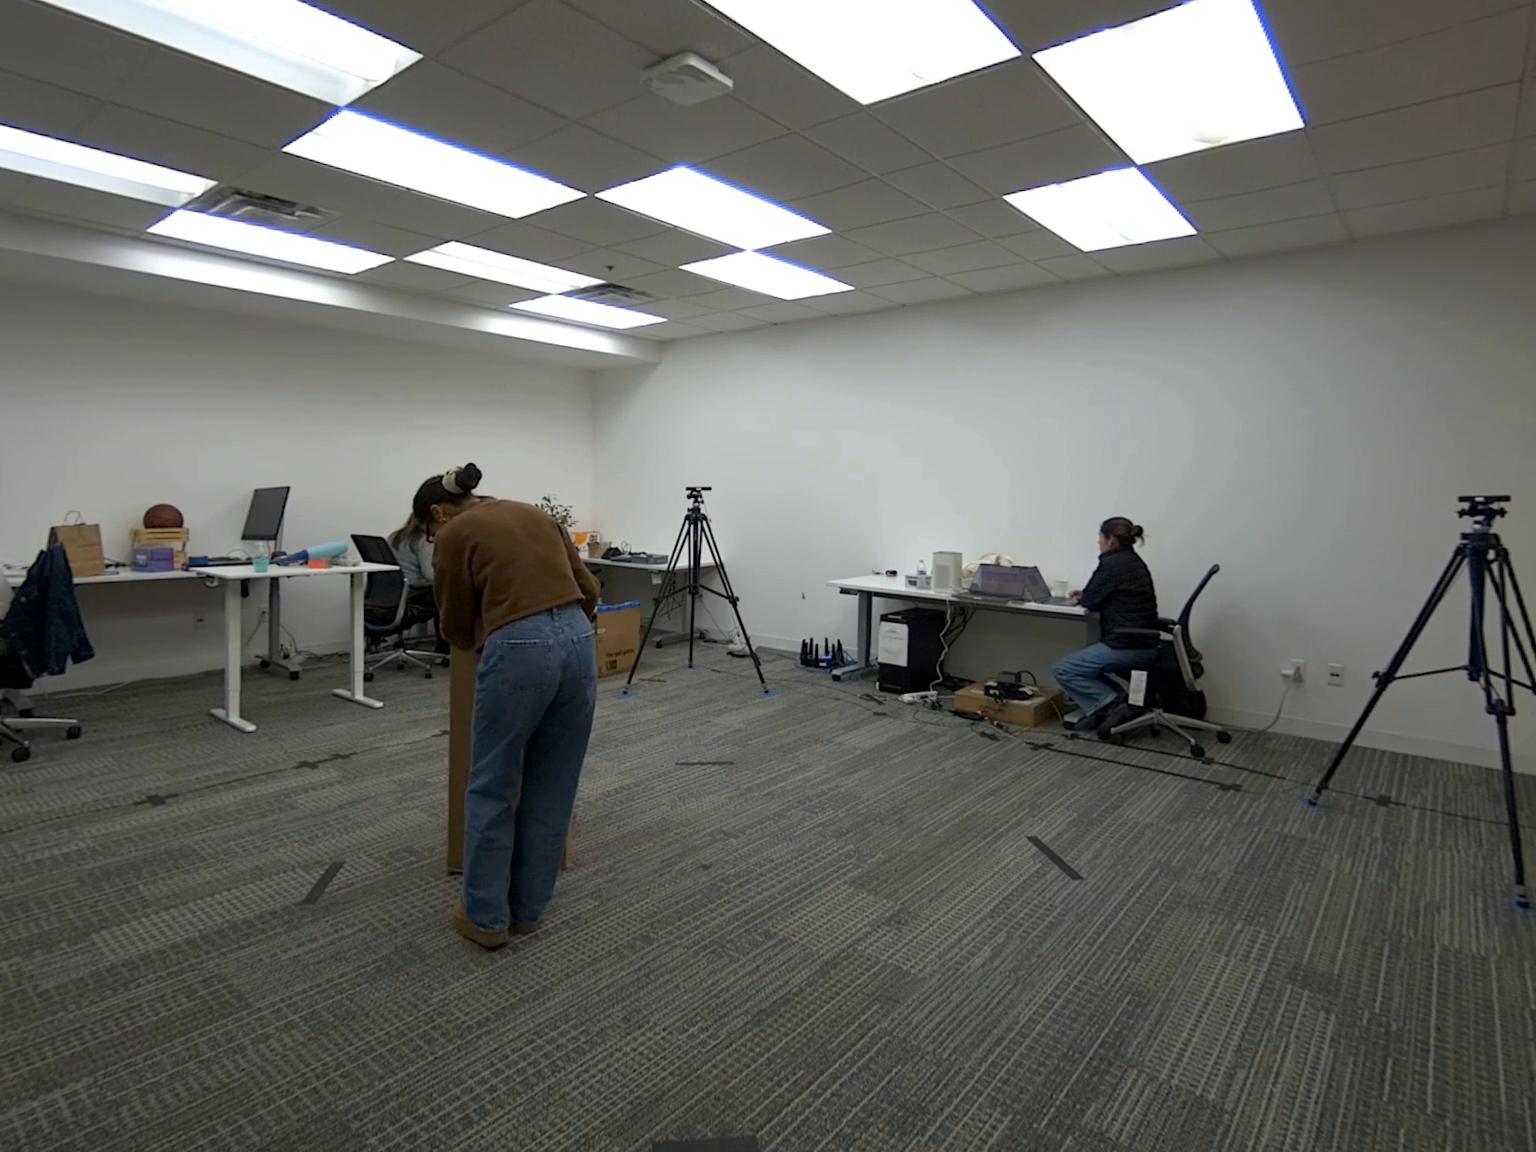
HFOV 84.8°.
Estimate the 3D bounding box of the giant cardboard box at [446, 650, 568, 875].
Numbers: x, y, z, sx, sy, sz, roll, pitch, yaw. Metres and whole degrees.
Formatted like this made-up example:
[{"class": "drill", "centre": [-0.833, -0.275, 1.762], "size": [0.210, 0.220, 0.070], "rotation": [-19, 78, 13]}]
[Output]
[{"class": "giant cardboard box", "centre": [-0.984, 0.520, 3.309], "size": [0.422, 1.023, 0.585], "rotation": [1, 3, -10]}]
